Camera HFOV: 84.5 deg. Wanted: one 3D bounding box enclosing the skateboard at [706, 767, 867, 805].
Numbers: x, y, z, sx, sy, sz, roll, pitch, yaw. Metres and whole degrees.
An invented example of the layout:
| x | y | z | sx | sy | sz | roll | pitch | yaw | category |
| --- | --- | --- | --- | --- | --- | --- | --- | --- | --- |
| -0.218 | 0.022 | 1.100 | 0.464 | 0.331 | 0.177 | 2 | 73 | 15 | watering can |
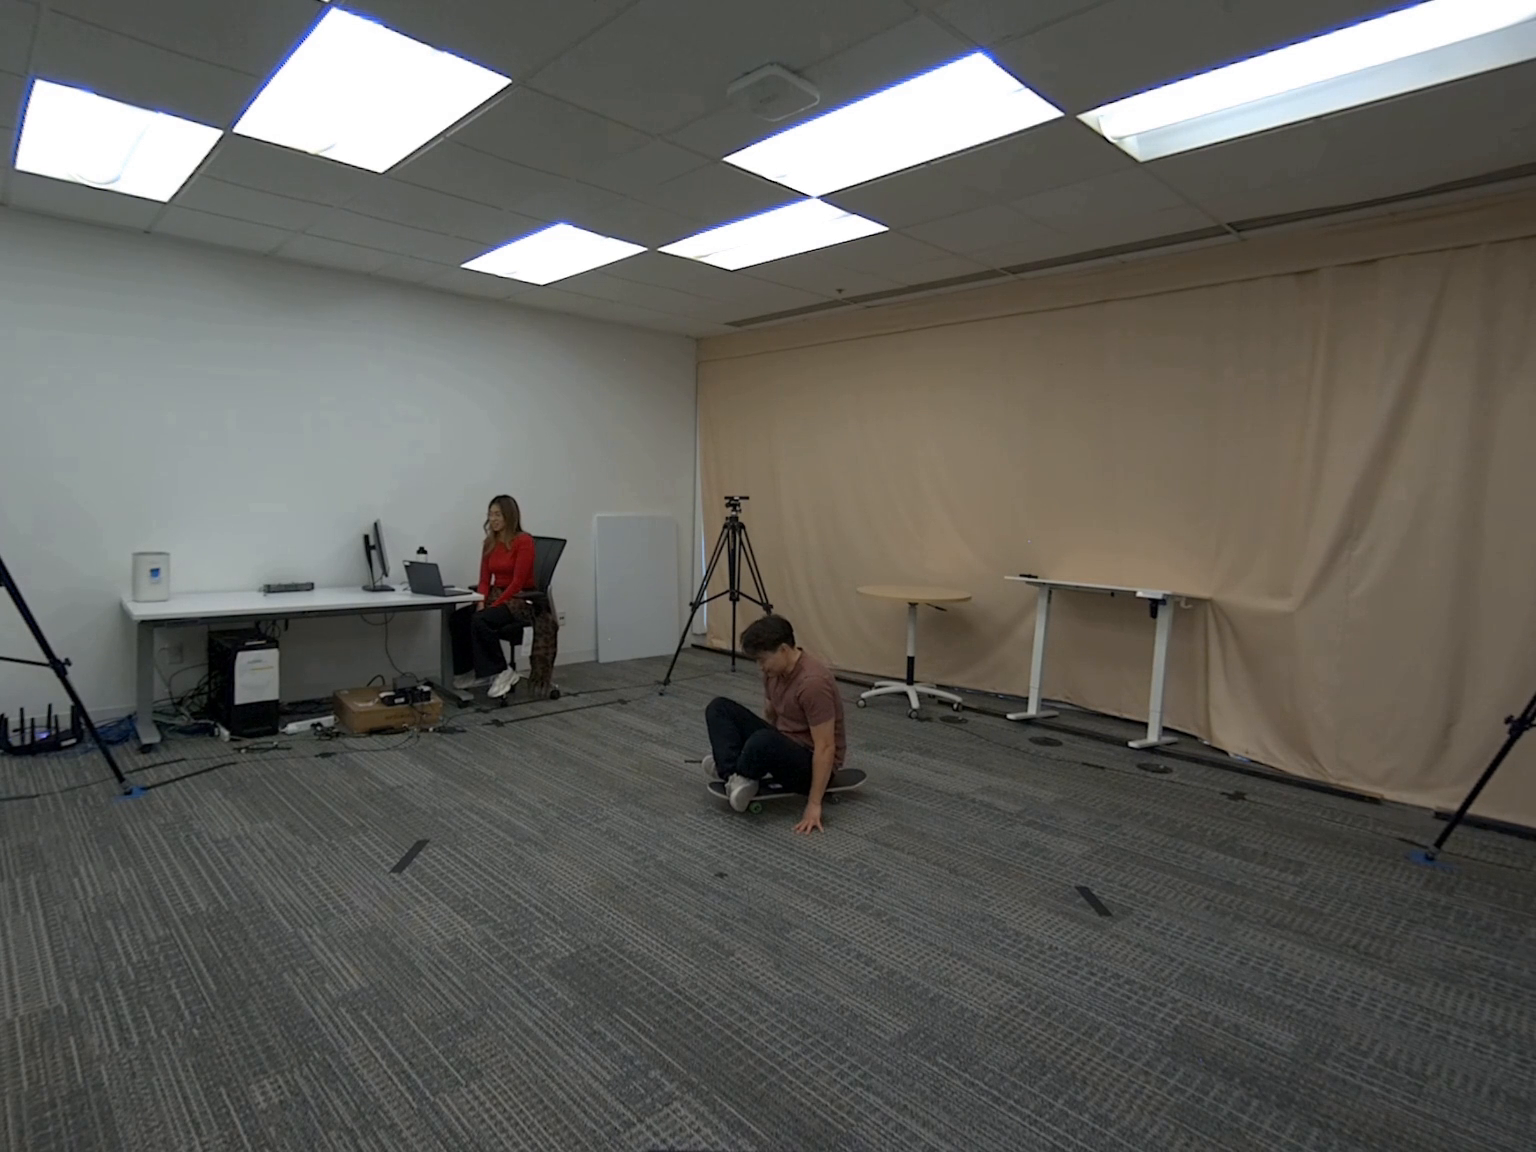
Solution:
| x | y | z | sx | sy | sz | roll | pitch | yaw | category |
| --- | --- | --- | --- | --- | --- | --- | --- | --- | --- |
| 0.091 | 0.983 | 3.872 | 0.771 | 0.110 | 0.198 | -1 | 9 | -25 | skateboard |
